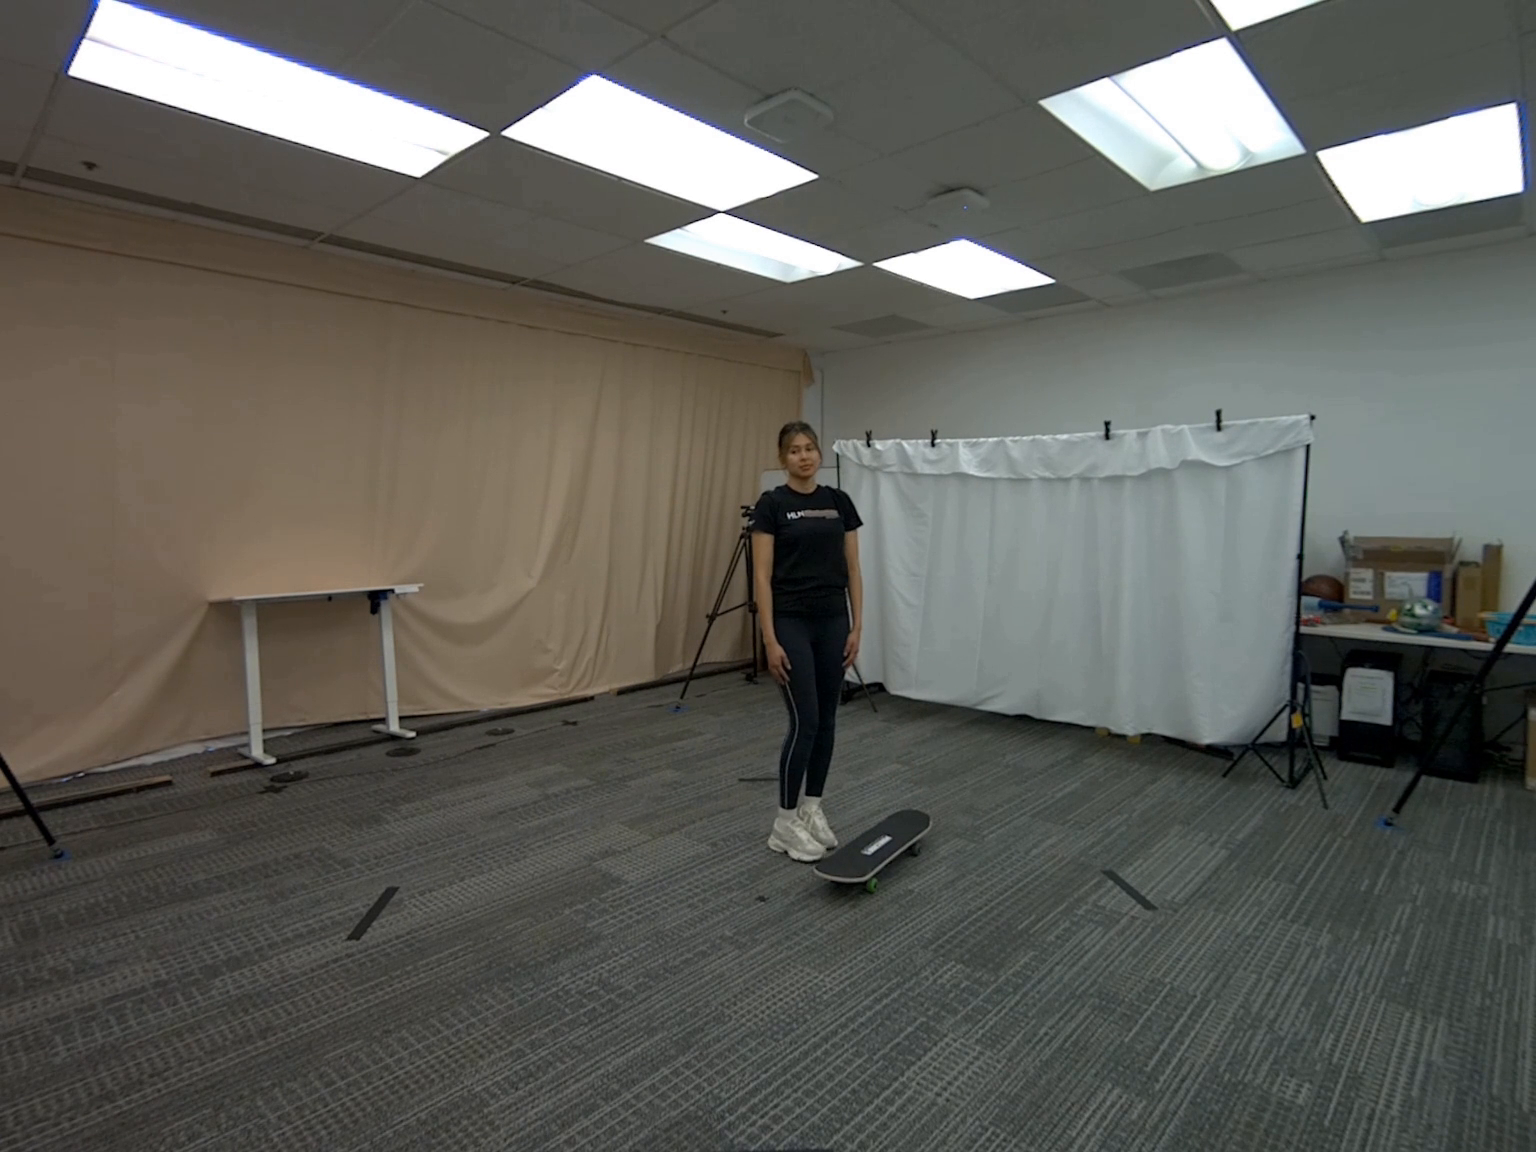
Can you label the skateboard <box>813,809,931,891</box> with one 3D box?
[{"bbox_3d":[0.422,1.064,3.232,0.199,0.110,0.763,2,5,34],"label":"skateboard"}]
